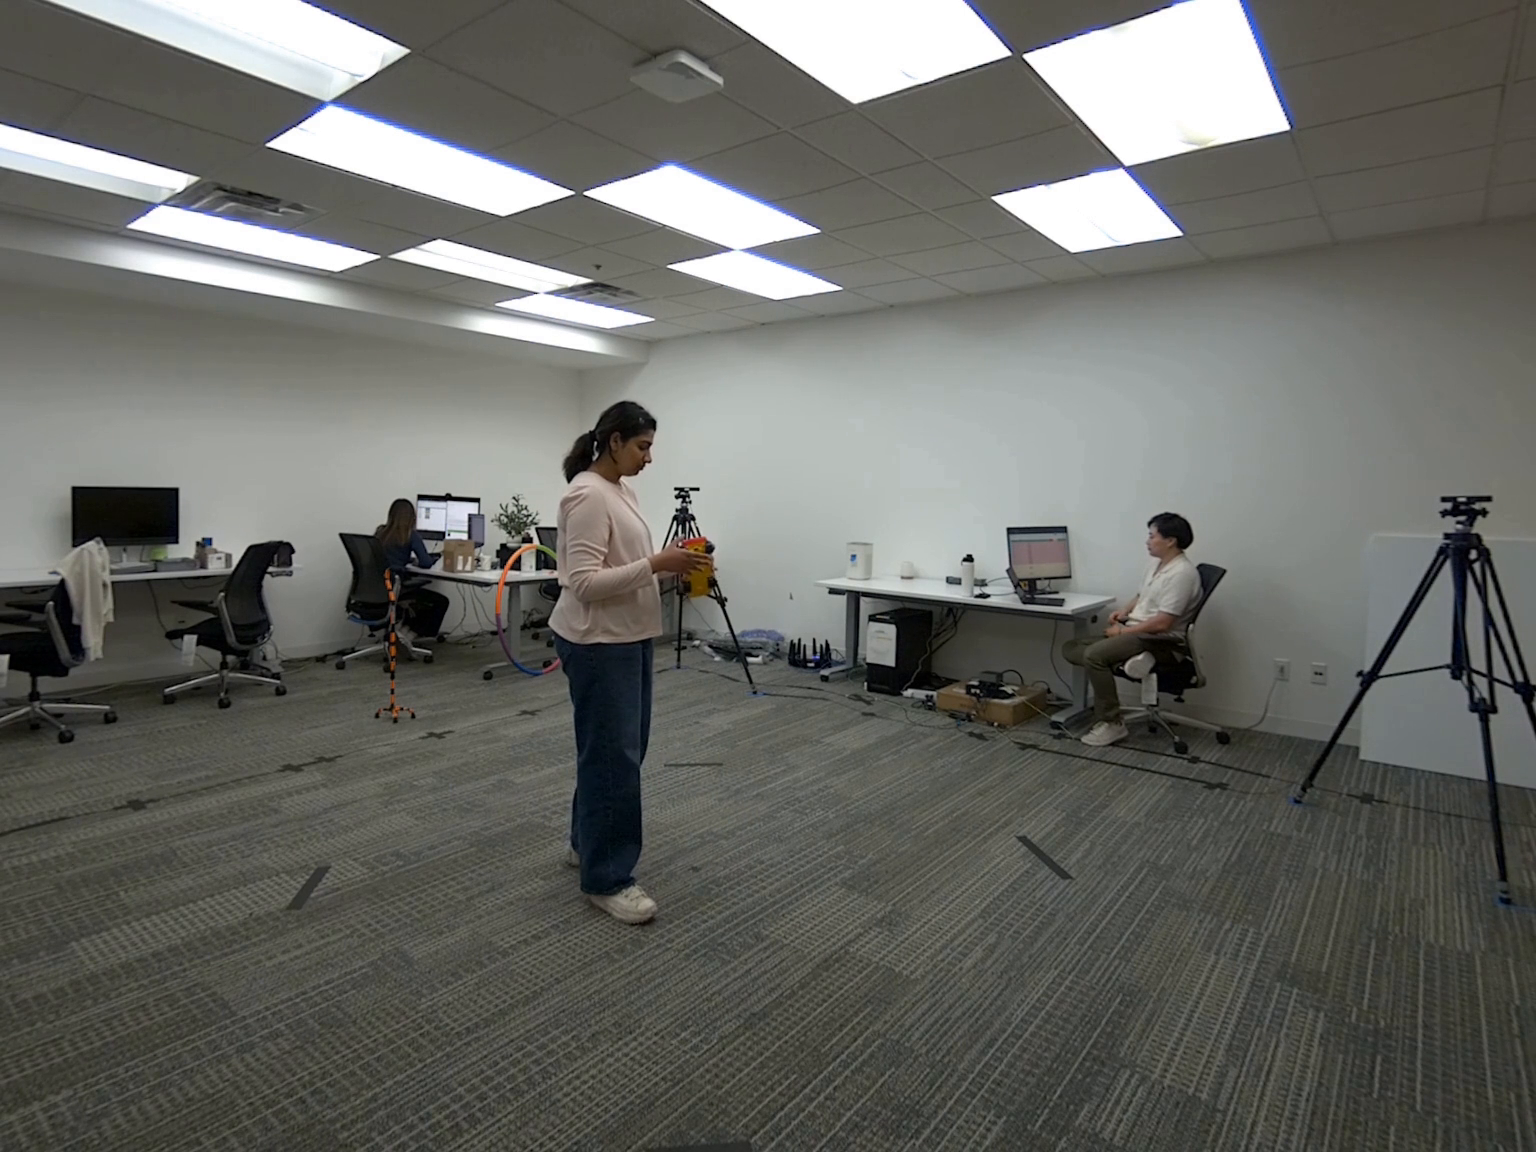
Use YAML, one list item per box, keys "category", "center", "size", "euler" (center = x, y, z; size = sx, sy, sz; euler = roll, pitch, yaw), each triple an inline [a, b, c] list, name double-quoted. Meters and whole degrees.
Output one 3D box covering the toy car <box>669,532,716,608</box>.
- category: "toy car"
  center: [-0.260, -0.019, 2.888]
  size: [0.129, 0.247, 0.086]
  euler: [-12, 49, -12]
